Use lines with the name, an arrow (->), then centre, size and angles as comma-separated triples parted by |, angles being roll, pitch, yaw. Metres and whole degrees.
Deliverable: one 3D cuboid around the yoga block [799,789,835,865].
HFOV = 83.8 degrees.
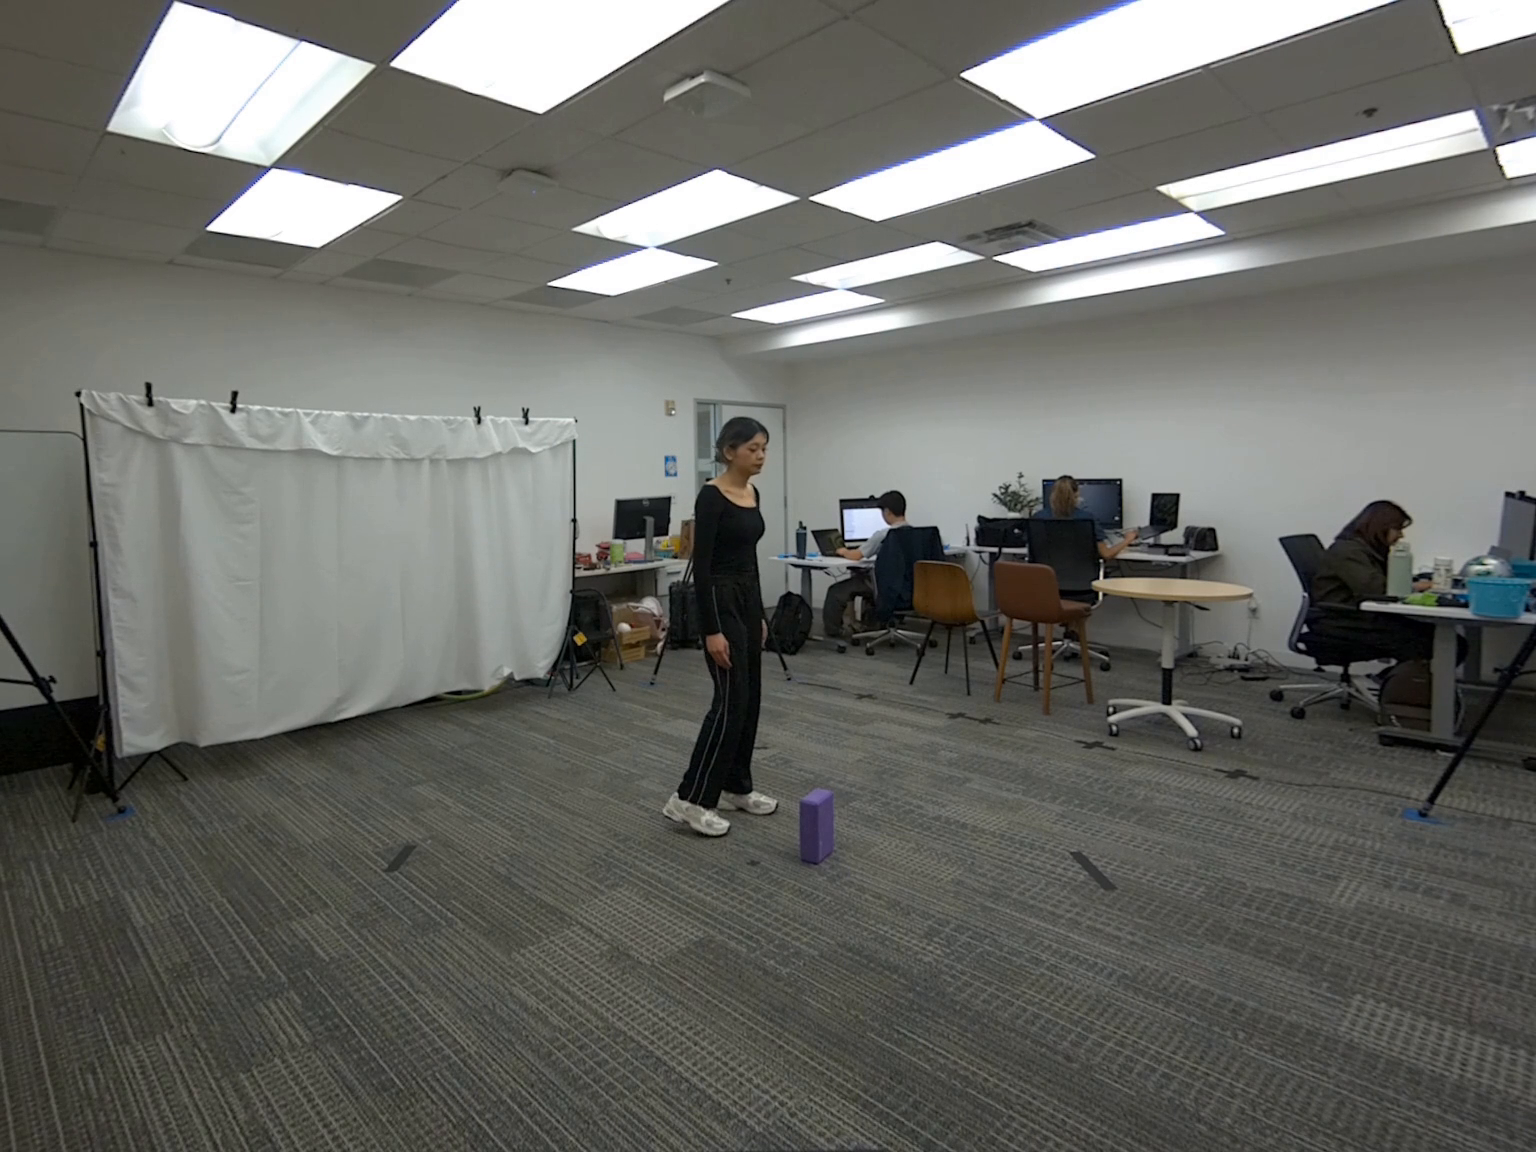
yoga block -> 0.184, 0.919, 3.147 | 0.078, 0.228, 0.146 | 2, 5, 29
